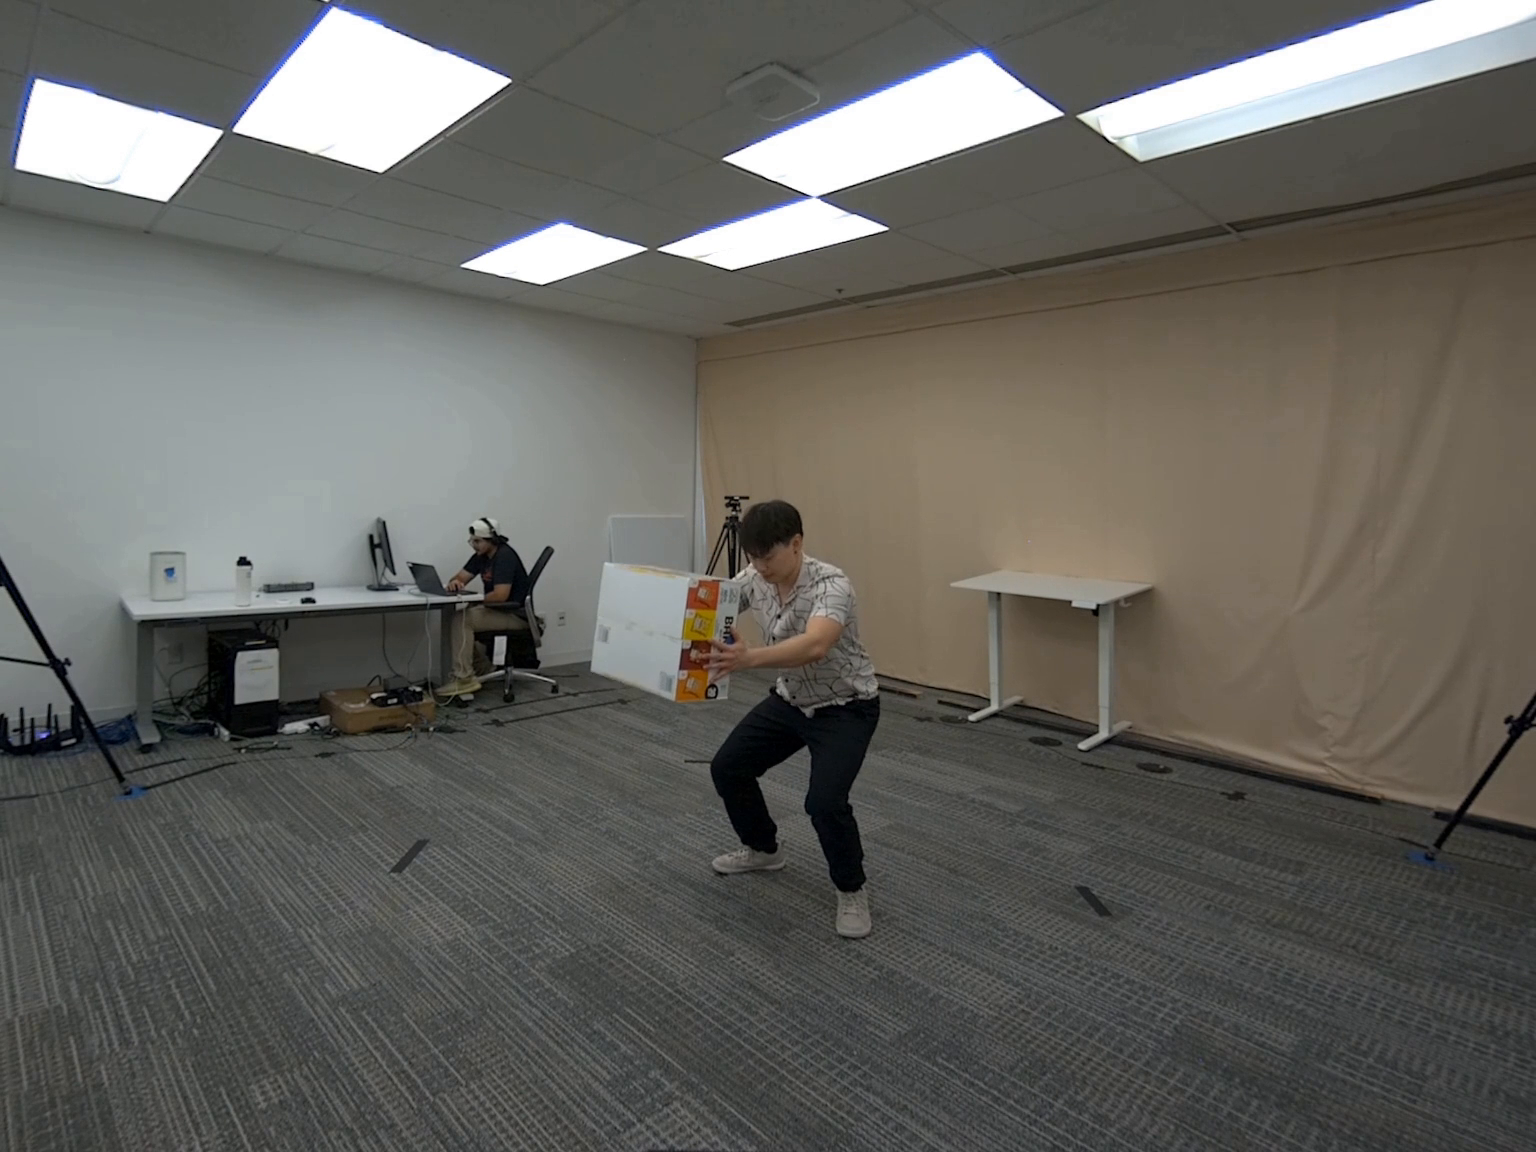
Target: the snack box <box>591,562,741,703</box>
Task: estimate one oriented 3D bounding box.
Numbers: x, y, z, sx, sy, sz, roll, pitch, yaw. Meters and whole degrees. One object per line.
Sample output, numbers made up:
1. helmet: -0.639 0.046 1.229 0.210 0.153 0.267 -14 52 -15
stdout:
1. snack box: -0.312 0.159 2.483 0.416 0.340 0.200 8 1 44
